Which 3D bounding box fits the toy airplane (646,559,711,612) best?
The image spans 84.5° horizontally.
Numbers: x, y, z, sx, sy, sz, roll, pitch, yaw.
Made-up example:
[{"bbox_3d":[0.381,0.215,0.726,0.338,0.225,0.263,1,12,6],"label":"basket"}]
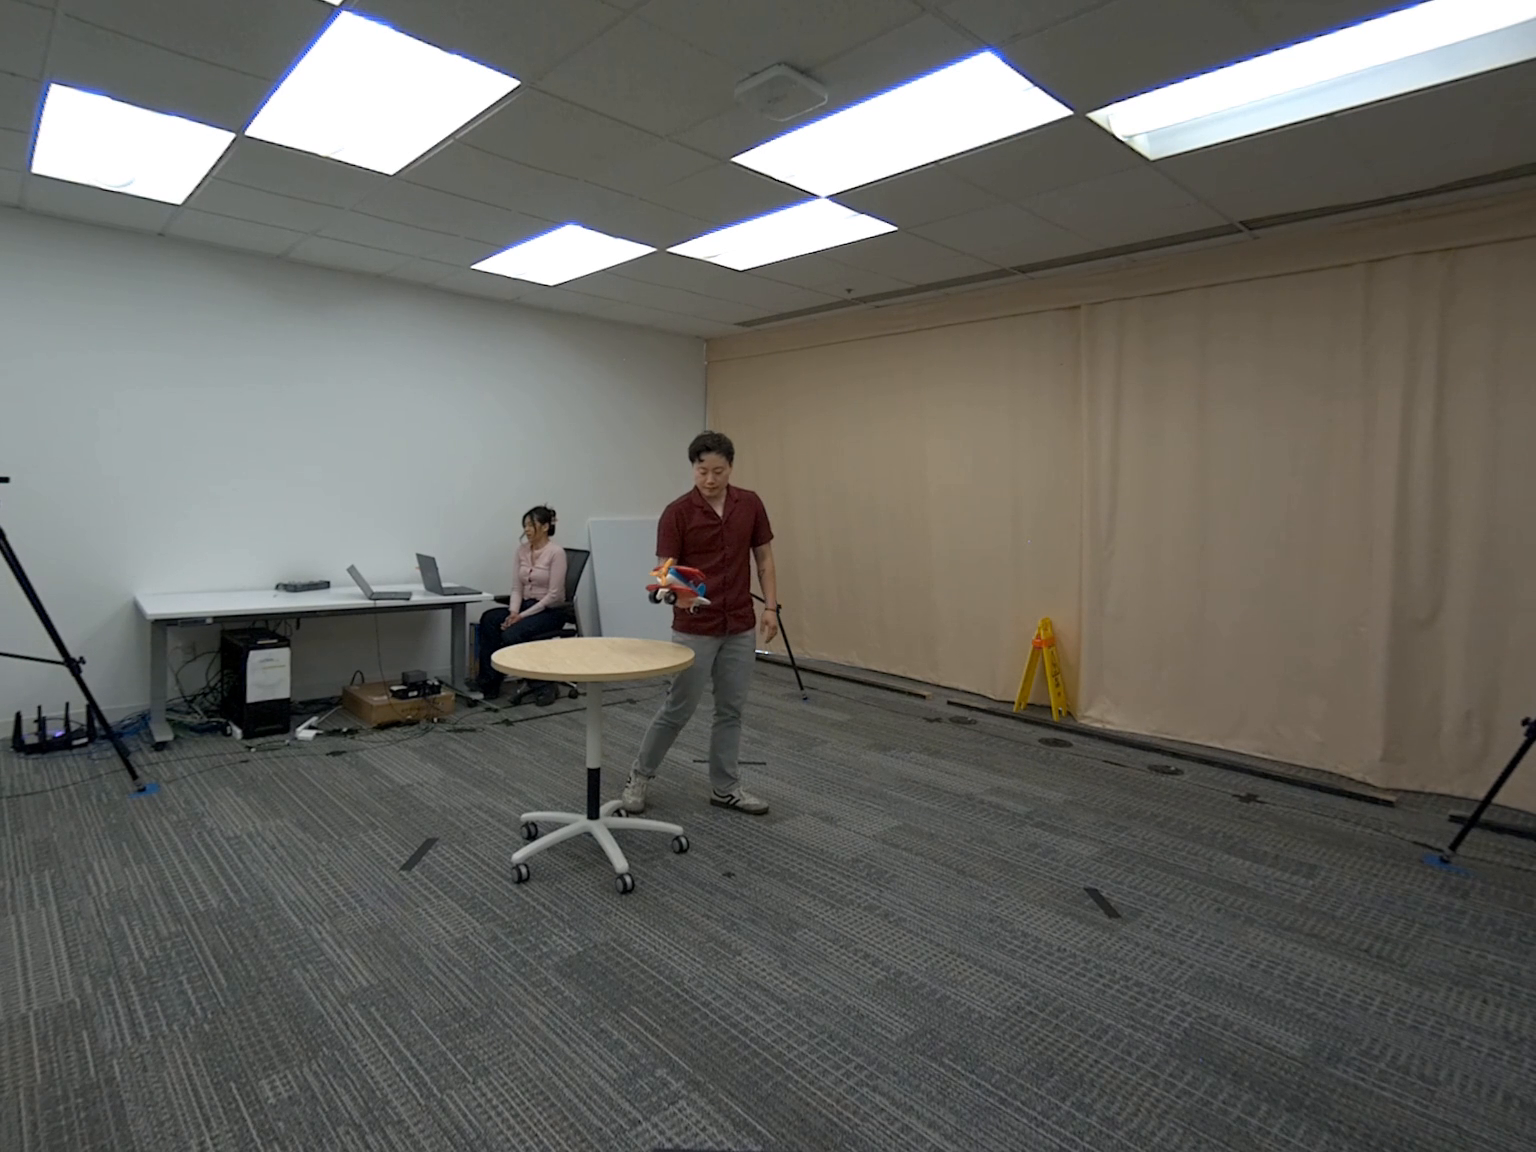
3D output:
[{"bbox_3d":[-0.371,0.054,3.315,0.254,0.157,0.254,8,-11,13],"label":"toy airplane"}]
